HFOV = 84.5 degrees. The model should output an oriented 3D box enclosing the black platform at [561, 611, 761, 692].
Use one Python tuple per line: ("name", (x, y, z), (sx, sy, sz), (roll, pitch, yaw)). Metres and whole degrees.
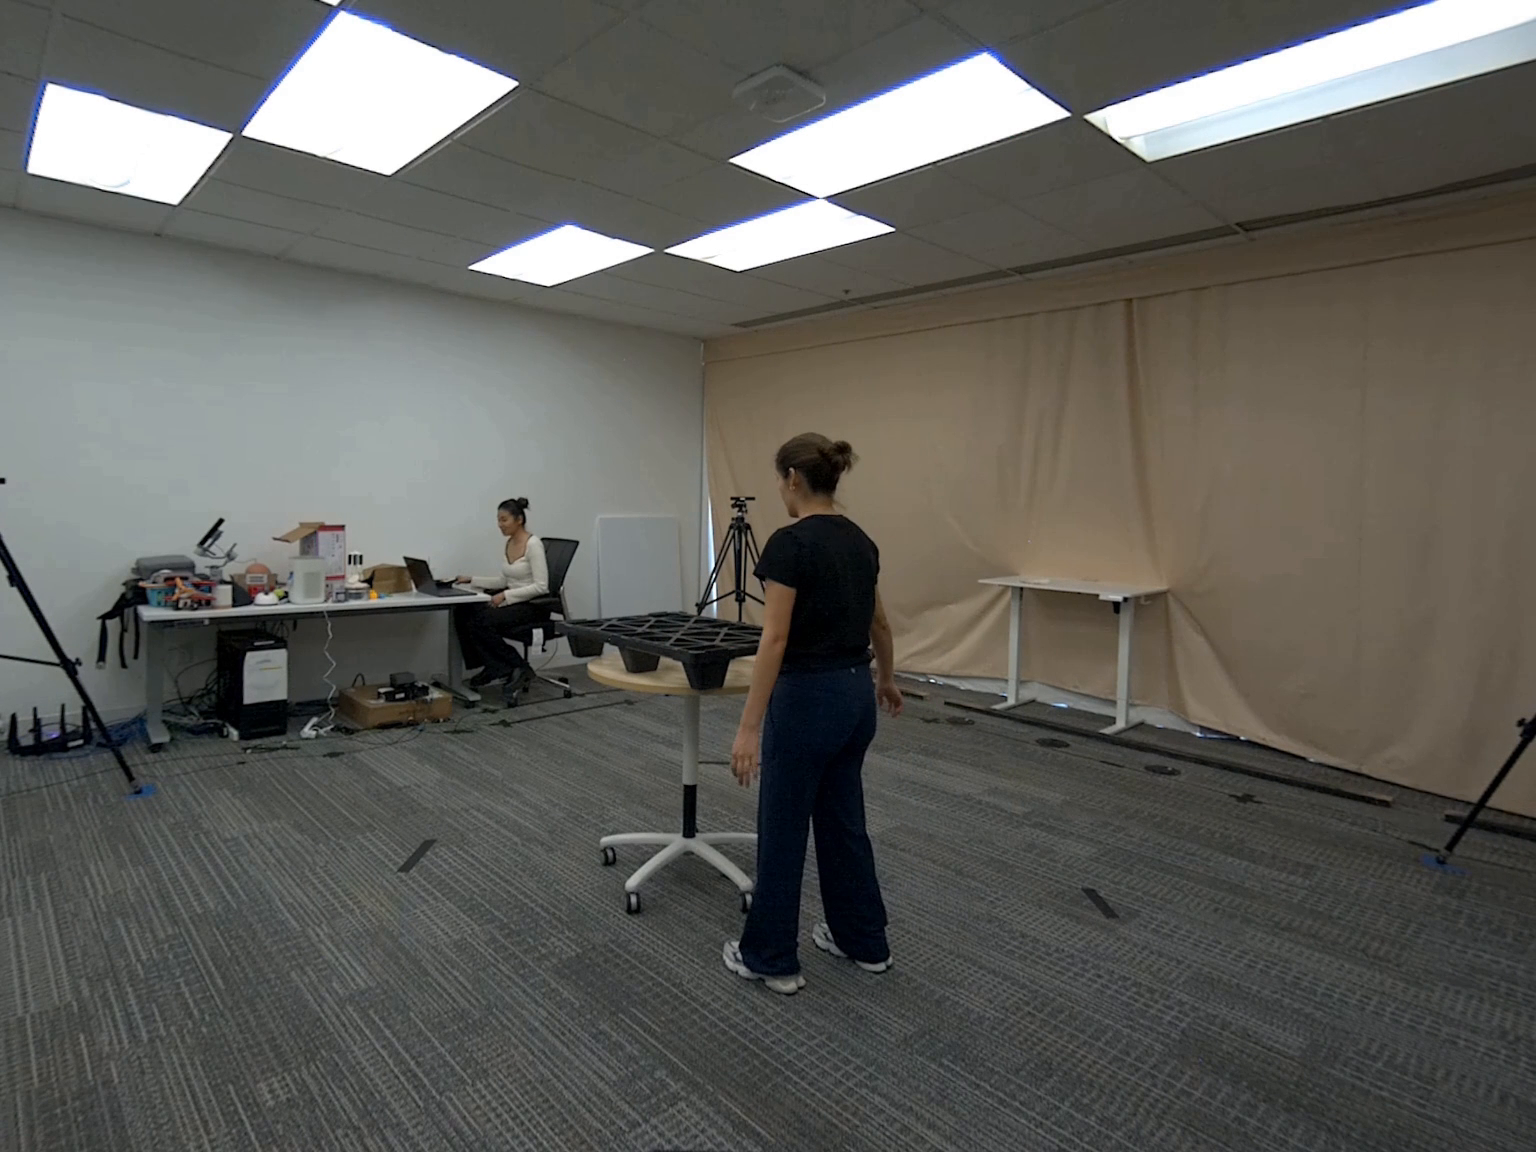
("black platform", (-0.314, 0.263, 3.045), (0.591, 0.143, 0.826), (-4, 7, -45))
